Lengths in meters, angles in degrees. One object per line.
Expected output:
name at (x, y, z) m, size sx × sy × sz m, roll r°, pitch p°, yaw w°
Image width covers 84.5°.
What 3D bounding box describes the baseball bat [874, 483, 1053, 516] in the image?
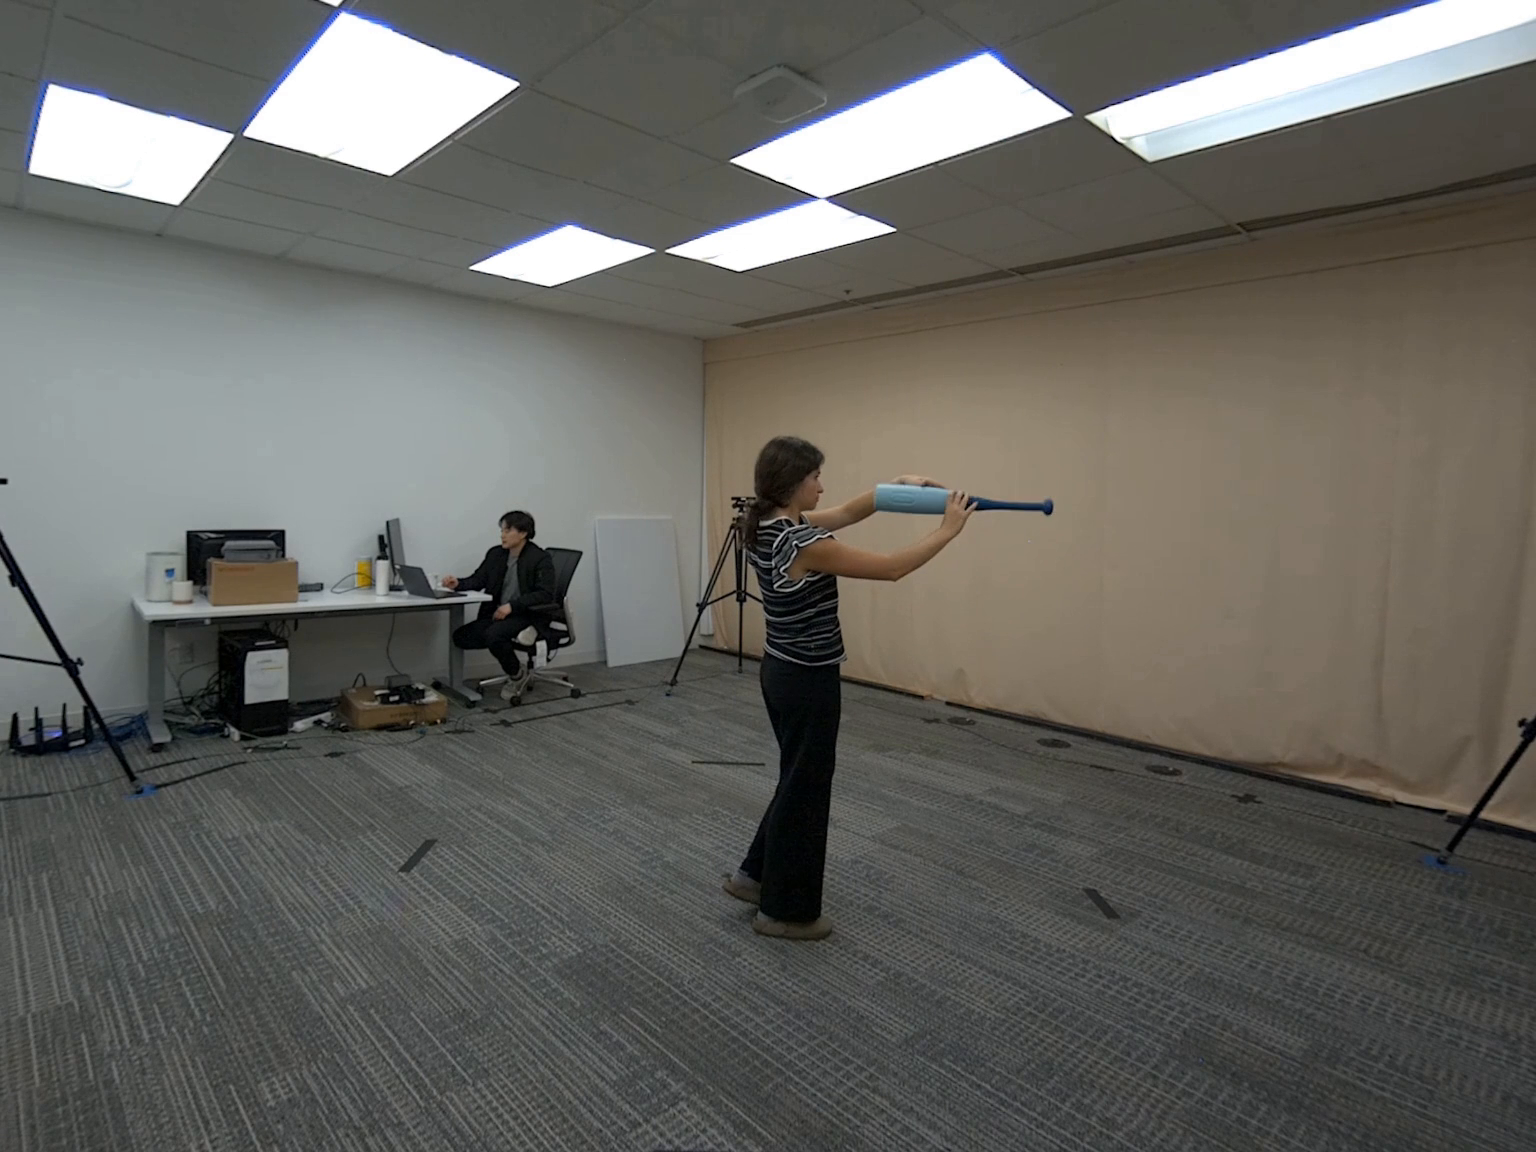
baseball bat at (0.600, -0.227, 2.630) m, size 0.547 × 0.089 × 0.089 m, roll 4°, pitch 4°, yaw 8°
